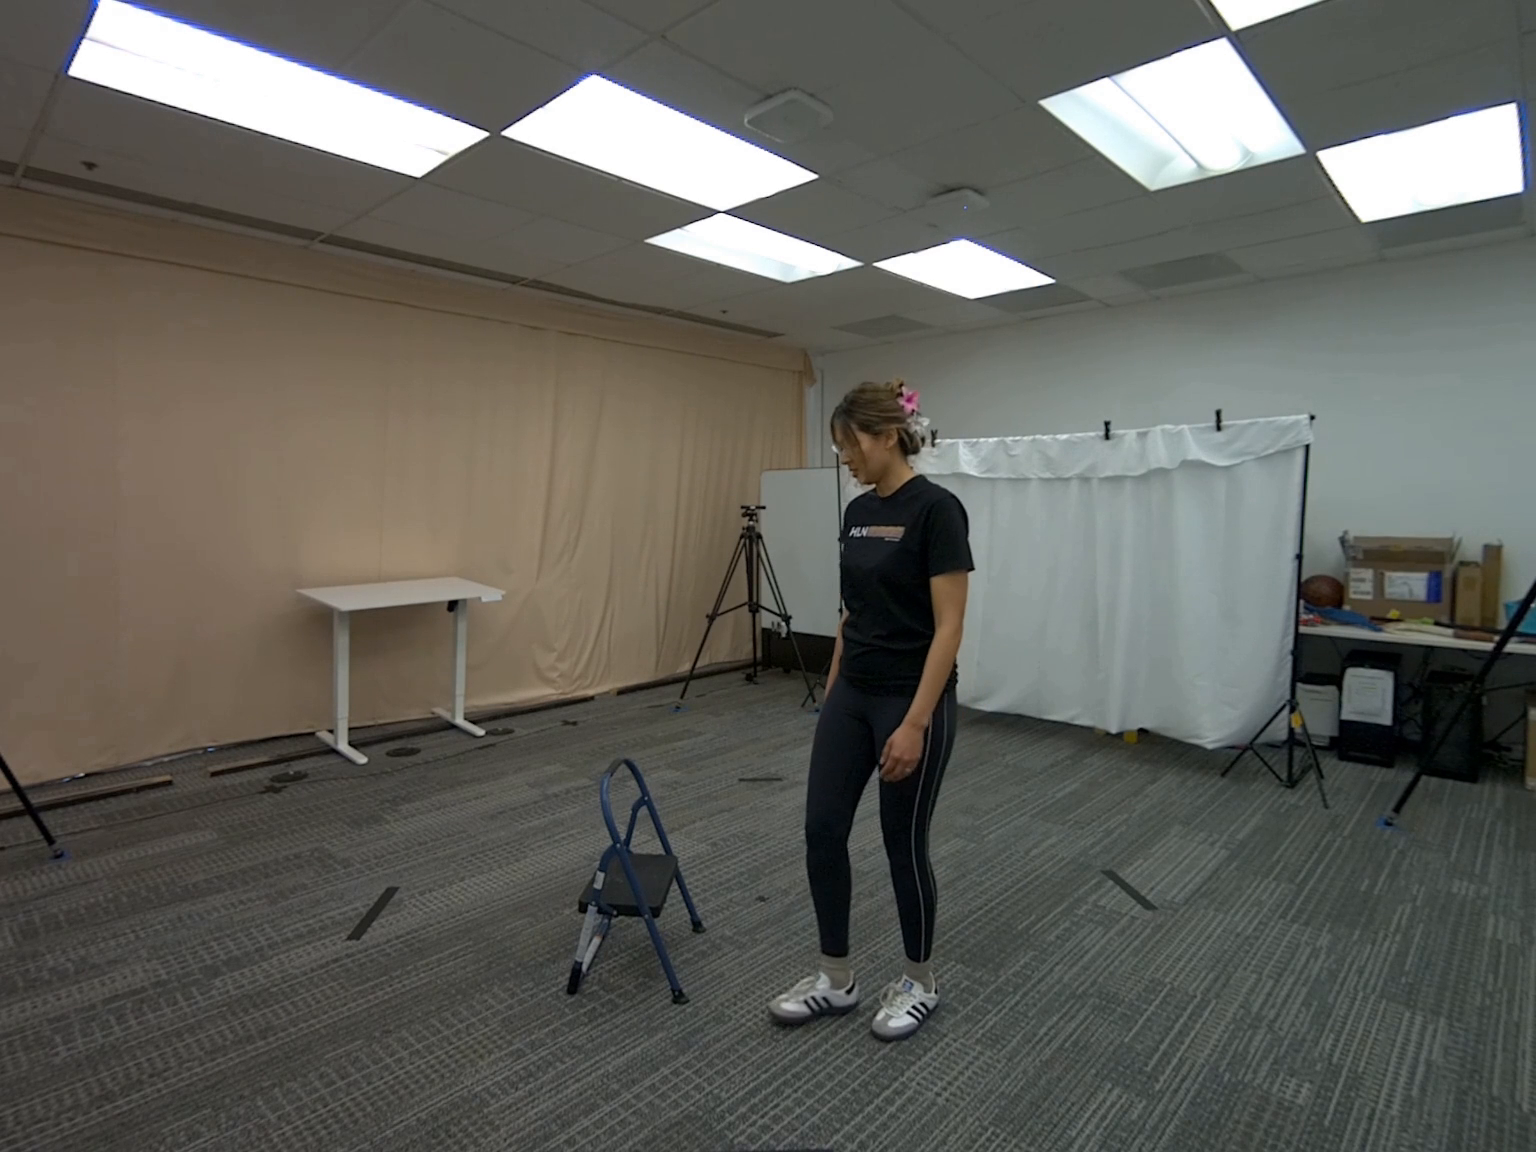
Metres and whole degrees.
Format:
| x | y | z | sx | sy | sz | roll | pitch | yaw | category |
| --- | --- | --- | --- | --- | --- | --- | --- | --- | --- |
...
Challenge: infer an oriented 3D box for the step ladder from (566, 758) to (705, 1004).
| x | y | z | sx | sy | sz | roll | pitch | yaw | category |
| --- | --- | --- | --- | --- | --- | --- | --- | --- | --- |
| -0.393 | 0.881 | 2.568 | 0.351 | 0.605 | 0.429 | 0 | 3 | 4 | step ladder |
